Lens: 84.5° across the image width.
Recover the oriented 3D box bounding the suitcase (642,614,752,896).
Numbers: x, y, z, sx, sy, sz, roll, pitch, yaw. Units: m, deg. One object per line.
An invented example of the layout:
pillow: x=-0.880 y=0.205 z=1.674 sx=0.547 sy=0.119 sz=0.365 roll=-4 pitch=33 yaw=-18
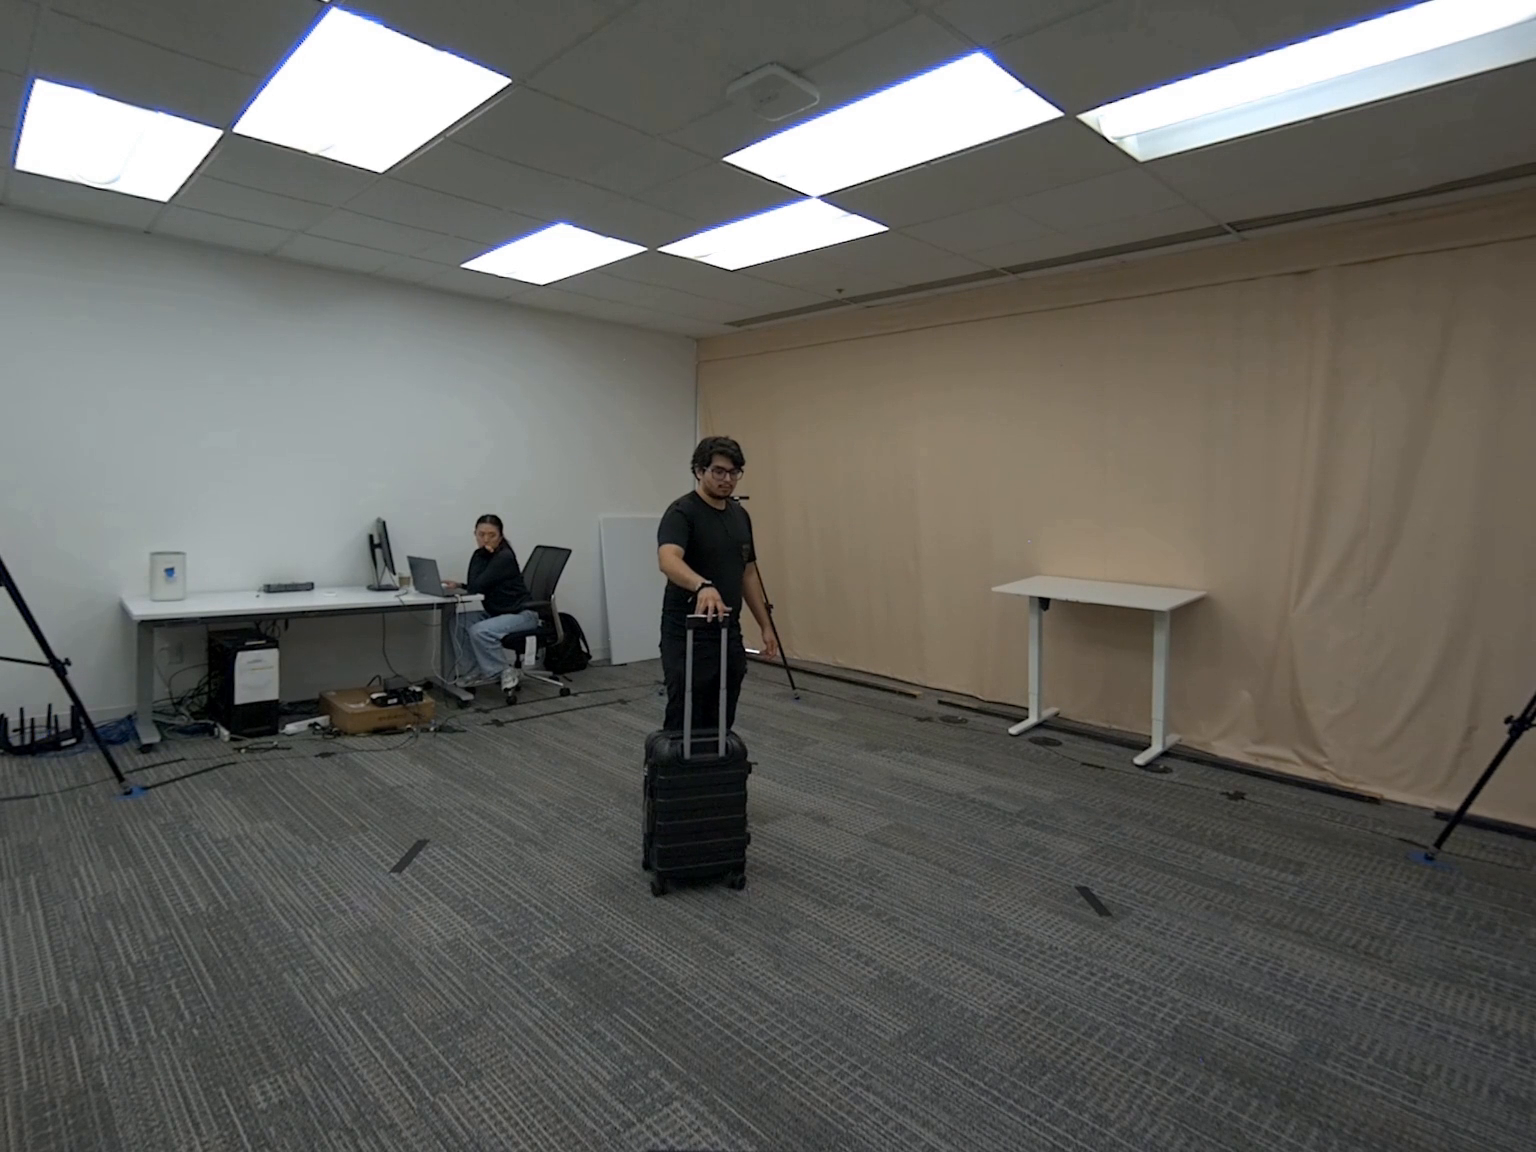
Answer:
suitcase: x=-0.269 y=0.632 z=3.044 sx=0.379 sy=0.977 sz=0.260 roll=2 pitch=2 yaw=-15
